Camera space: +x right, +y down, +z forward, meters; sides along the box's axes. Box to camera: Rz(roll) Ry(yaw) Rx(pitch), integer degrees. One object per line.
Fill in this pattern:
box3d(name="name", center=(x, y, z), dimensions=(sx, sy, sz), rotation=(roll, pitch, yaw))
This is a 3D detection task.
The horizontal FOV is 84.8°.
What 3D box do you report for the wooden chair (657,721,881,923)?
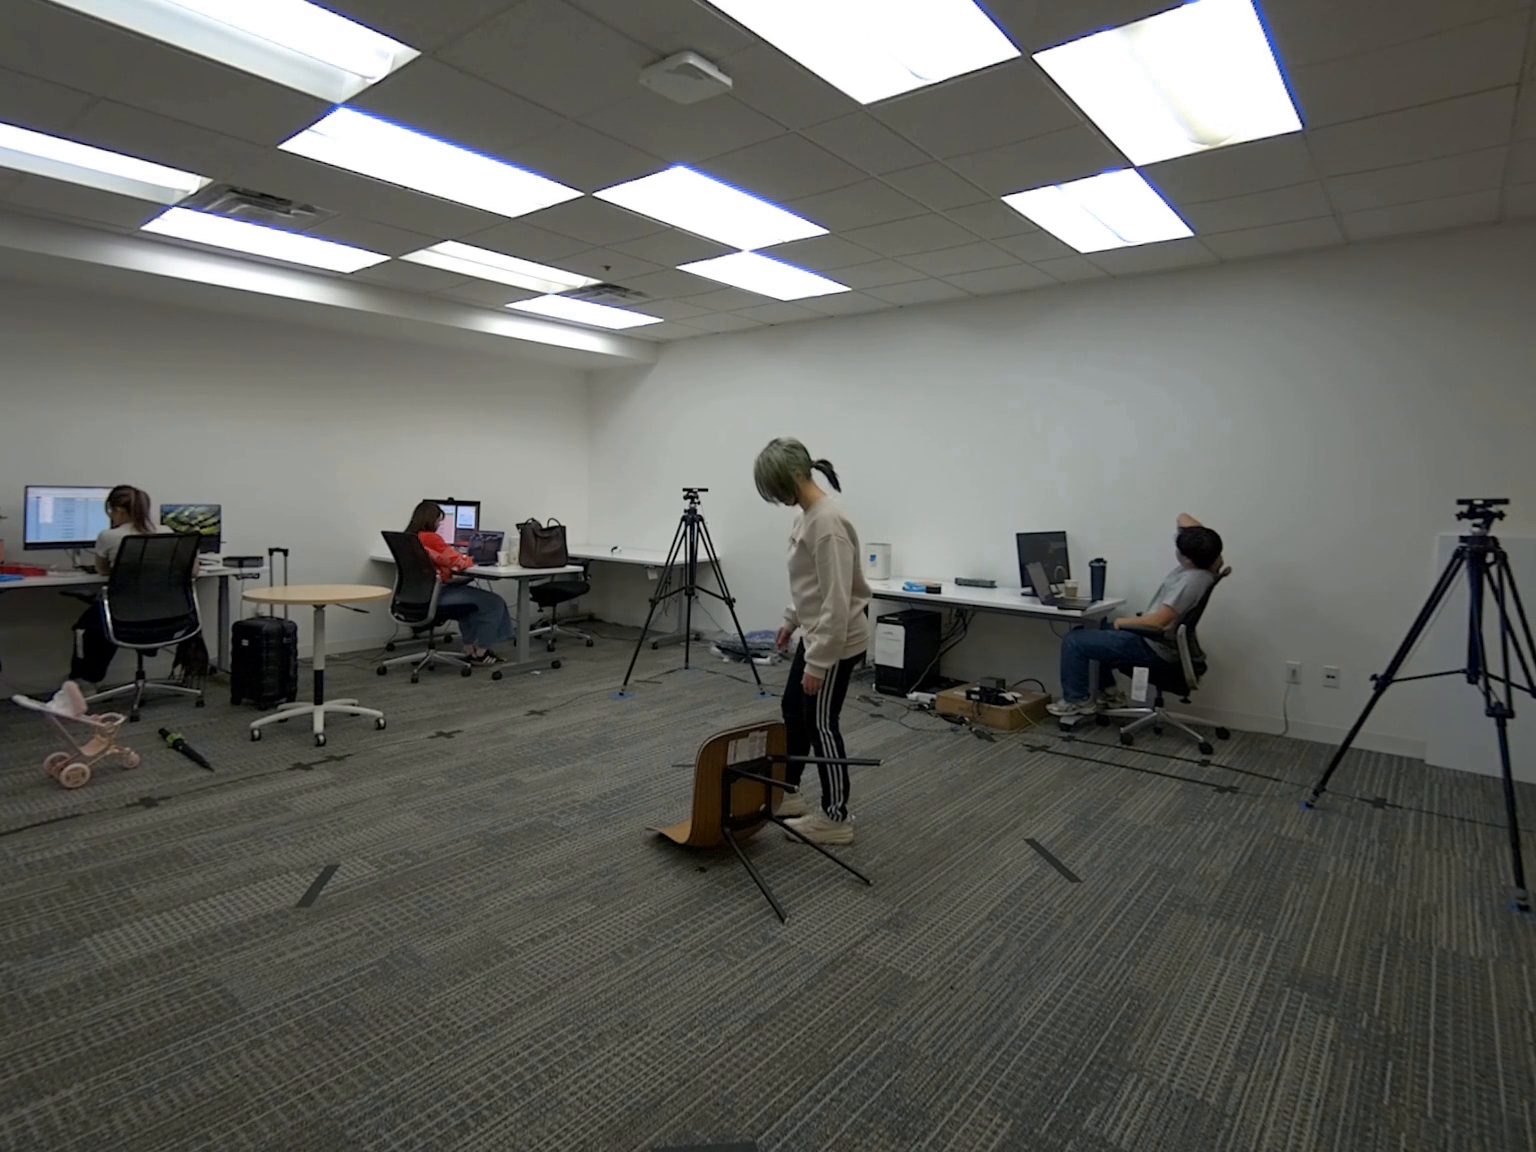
box3d(name="wooden chair", center=(-0.081, 0.811, 3.161), dimensions=(0.463, 0.522, 0.907), rotation=(-3, 5, -43))
